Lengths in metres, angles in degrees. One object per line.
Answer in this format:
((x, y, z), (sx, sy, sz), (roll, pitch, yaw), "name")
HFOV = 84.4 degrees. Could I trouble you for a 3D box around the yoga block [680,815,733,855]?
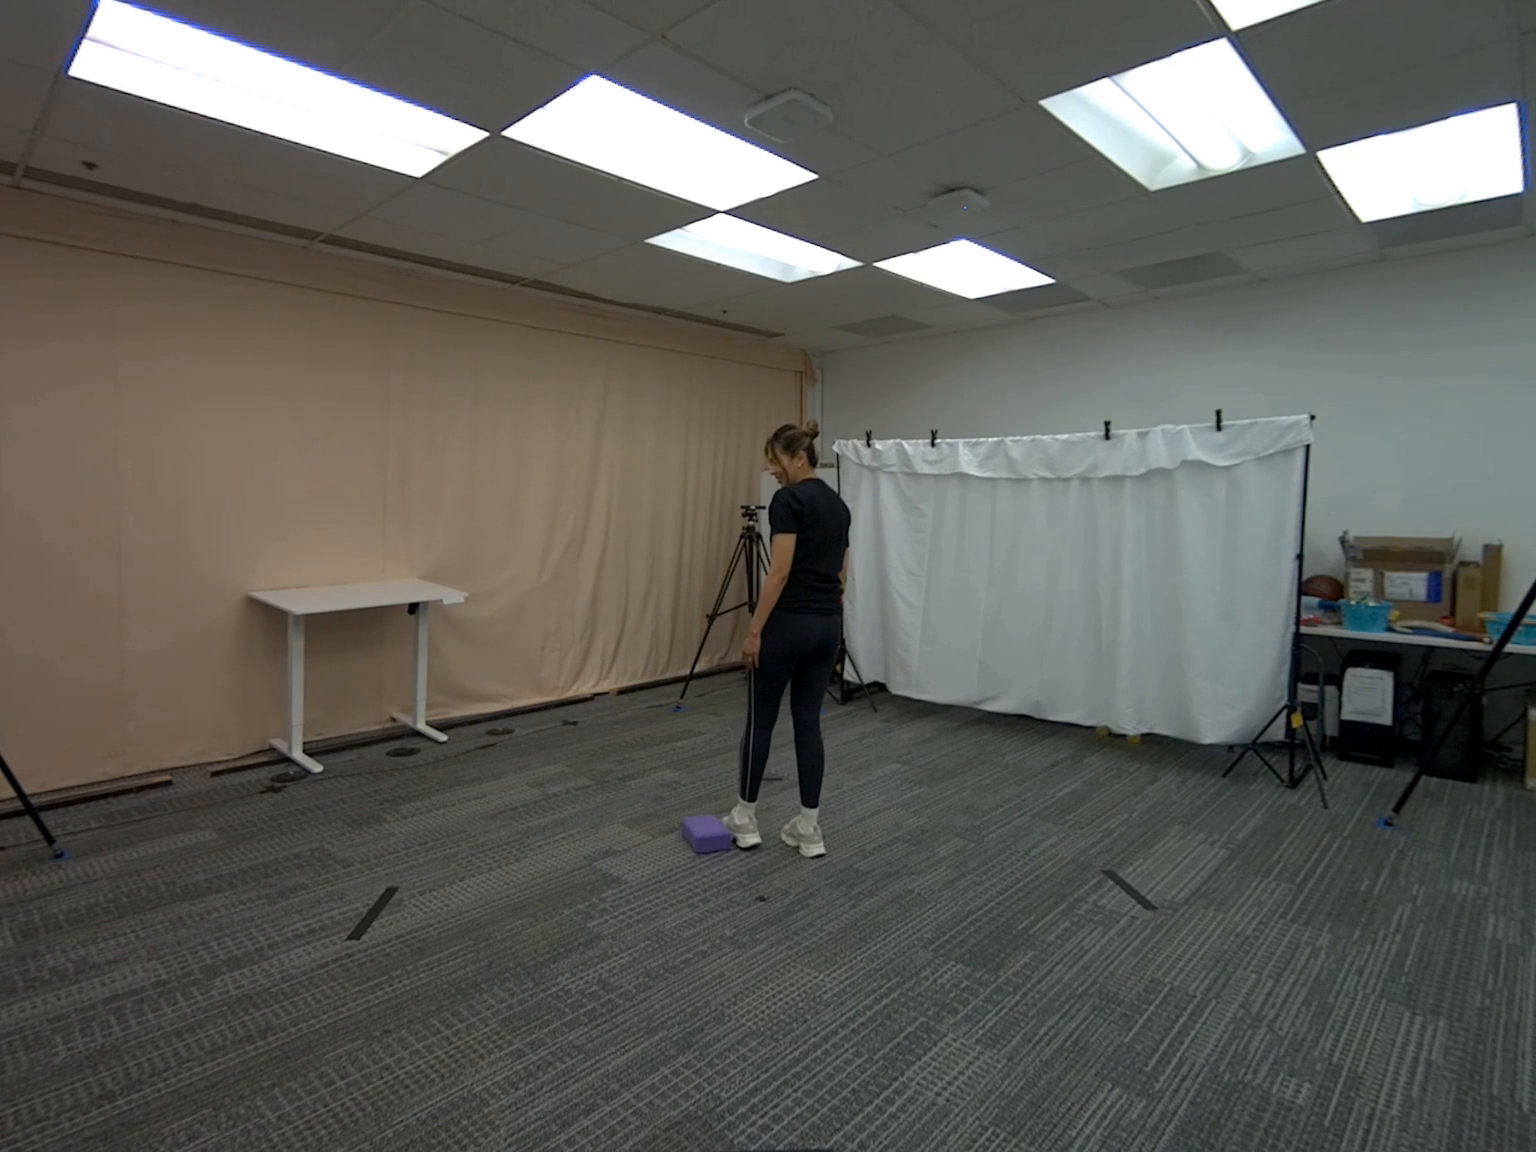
((-0.259, 1.064, 3.479), (0.146, 0.076, 0.234), (-3, 5, -20), "yoga block")
